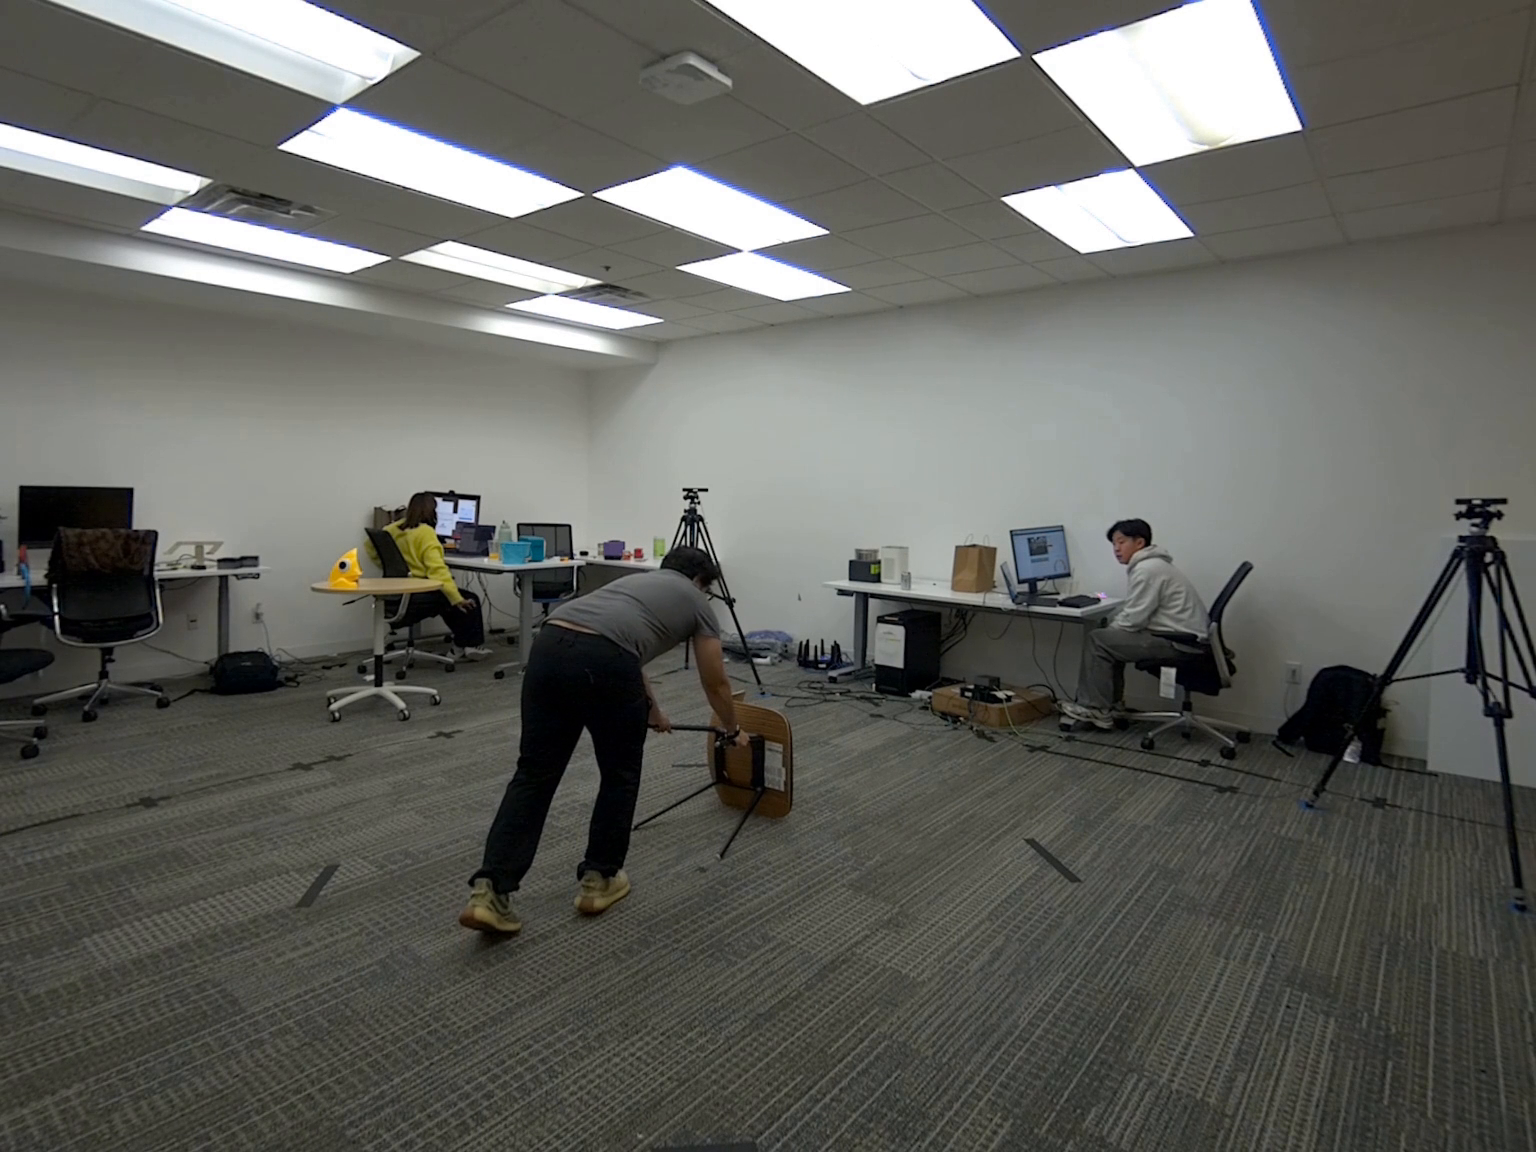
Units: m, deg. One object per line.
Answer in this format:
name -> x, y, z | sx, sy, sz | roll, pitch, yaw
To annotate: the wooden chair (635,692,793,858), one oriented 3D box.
wooden chair -> -0.137, 0.788, 3.645 | 0.539, 0.476, 0.856 | 3, 7, 30
